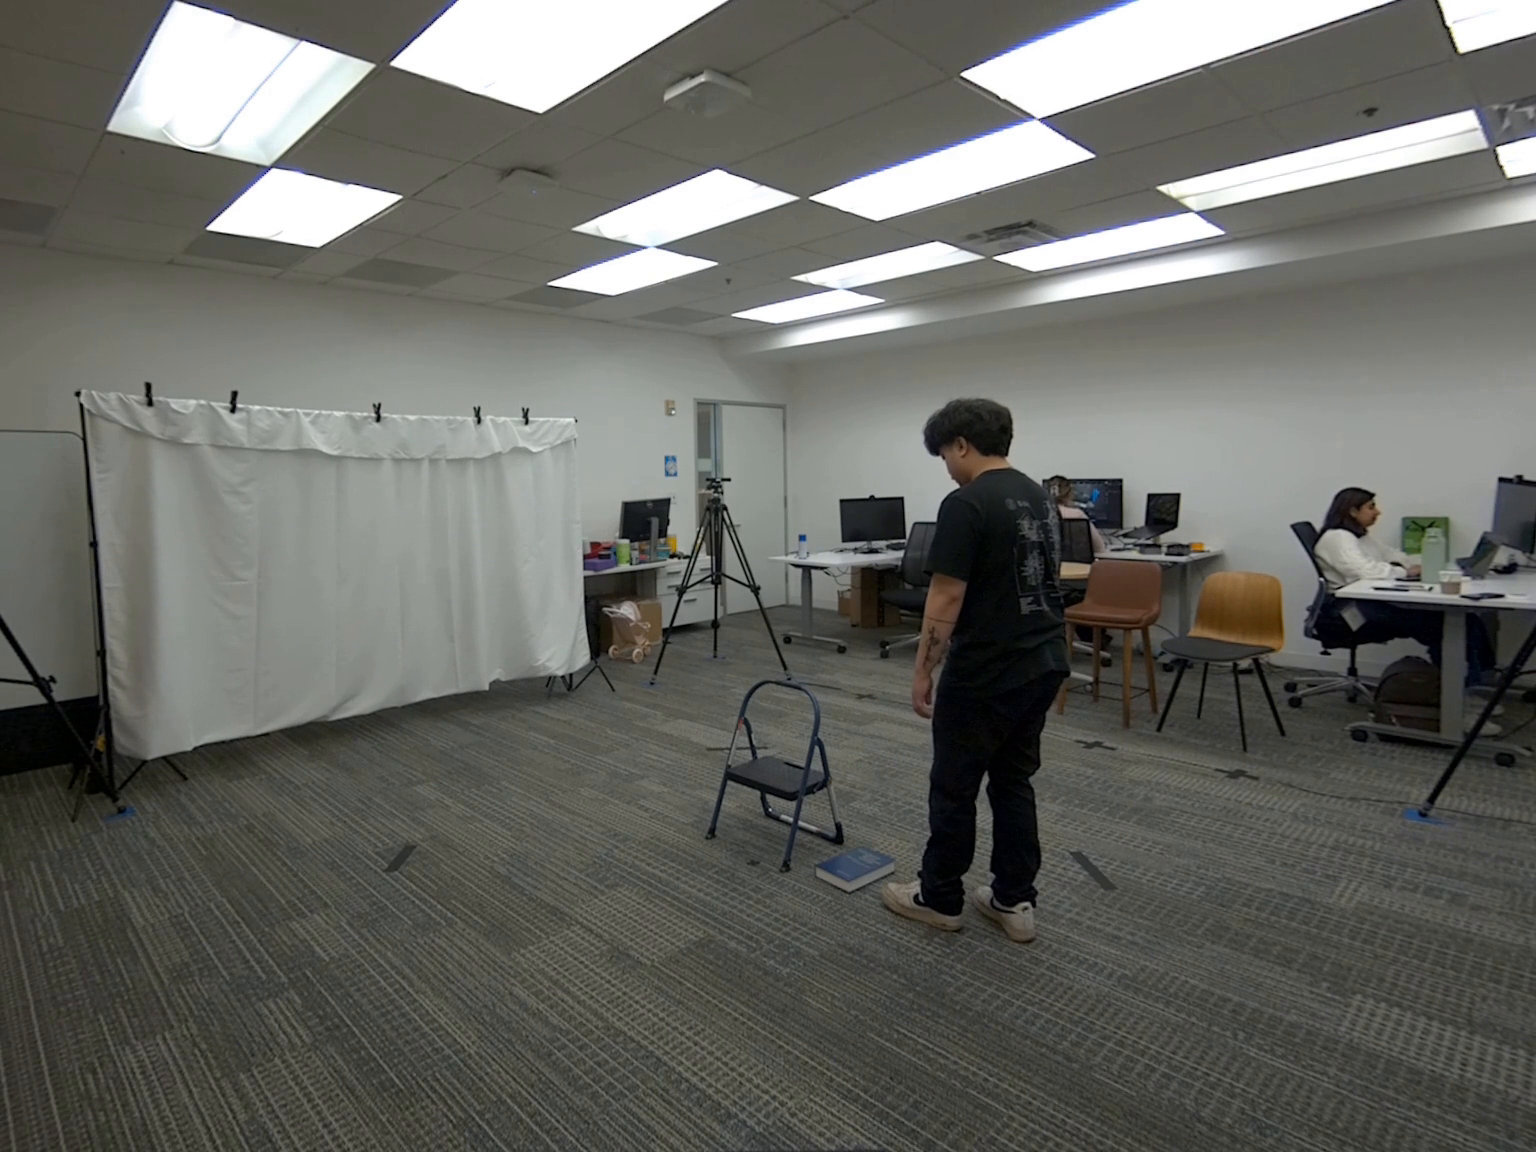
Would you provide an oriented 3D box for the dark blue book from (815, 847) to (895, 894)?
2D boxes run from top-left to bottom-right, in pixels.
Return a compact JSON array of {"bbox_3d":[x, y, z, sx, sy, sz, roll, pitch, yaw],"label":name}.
[{"bbox_3d":[0.314,1.028,2.995,0.239,0.045,0.168,-7,8,-41],"label":"dark blue book"}]
